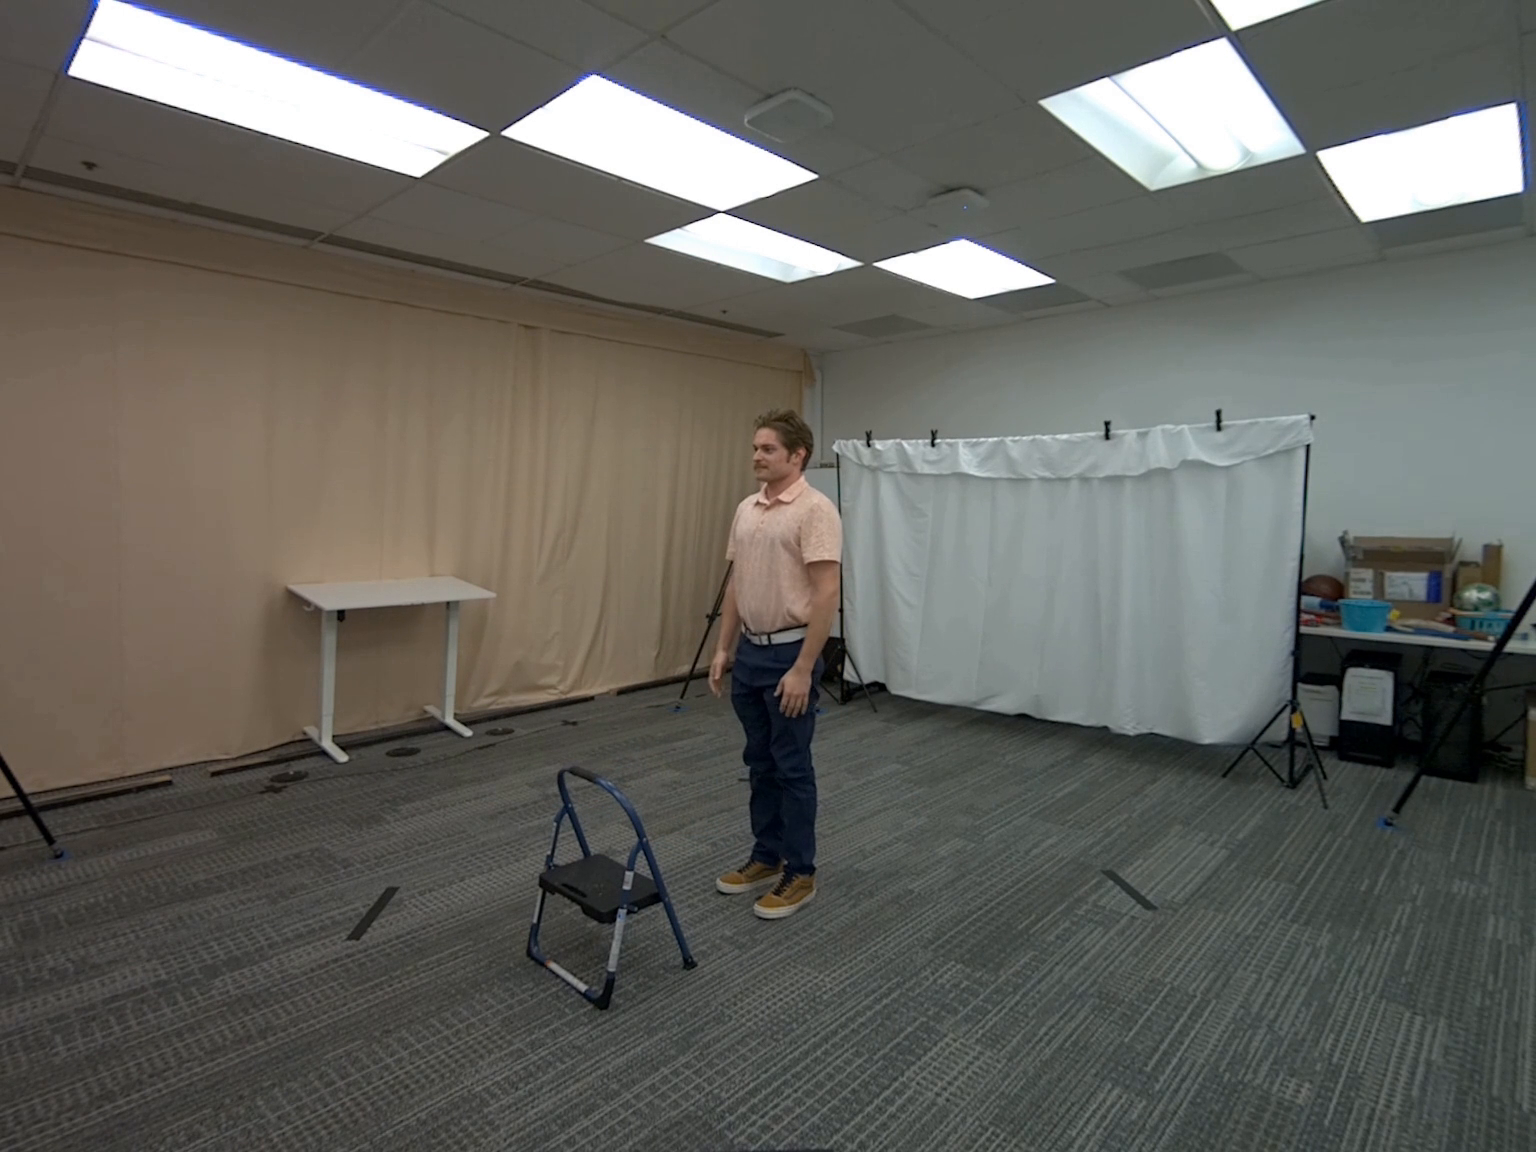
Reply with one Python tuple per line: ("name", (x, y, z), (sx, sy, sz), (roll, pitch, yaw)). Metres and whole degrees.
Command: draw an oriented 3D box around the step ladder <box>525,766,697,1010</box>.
("step ladder", (-0.487, 0.880, 2.568), (0.445, 0.605, 0.338), (3, 4, 44))
